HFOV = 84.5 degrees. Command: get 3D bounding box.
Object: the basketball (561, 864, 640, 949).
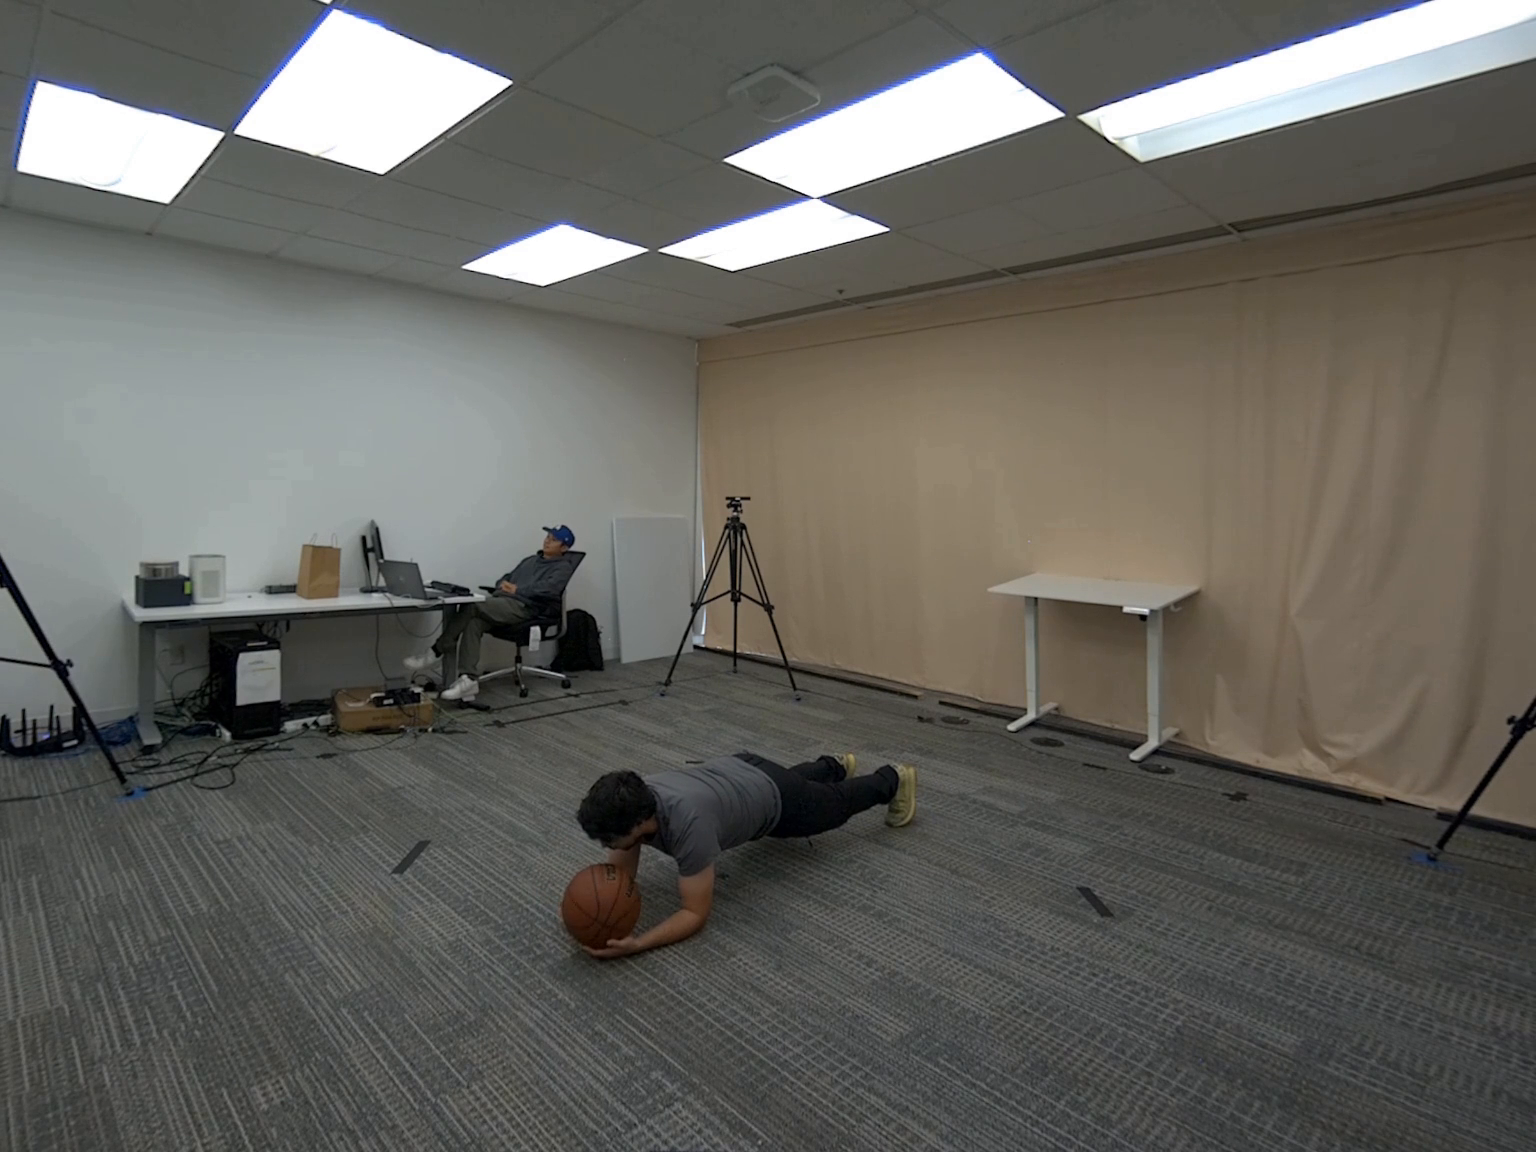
[{"bbox_3d":[-0.519,1.007,2.565,0.236,0.235,0.237,1,4,-1],"label":"basketball"}]
